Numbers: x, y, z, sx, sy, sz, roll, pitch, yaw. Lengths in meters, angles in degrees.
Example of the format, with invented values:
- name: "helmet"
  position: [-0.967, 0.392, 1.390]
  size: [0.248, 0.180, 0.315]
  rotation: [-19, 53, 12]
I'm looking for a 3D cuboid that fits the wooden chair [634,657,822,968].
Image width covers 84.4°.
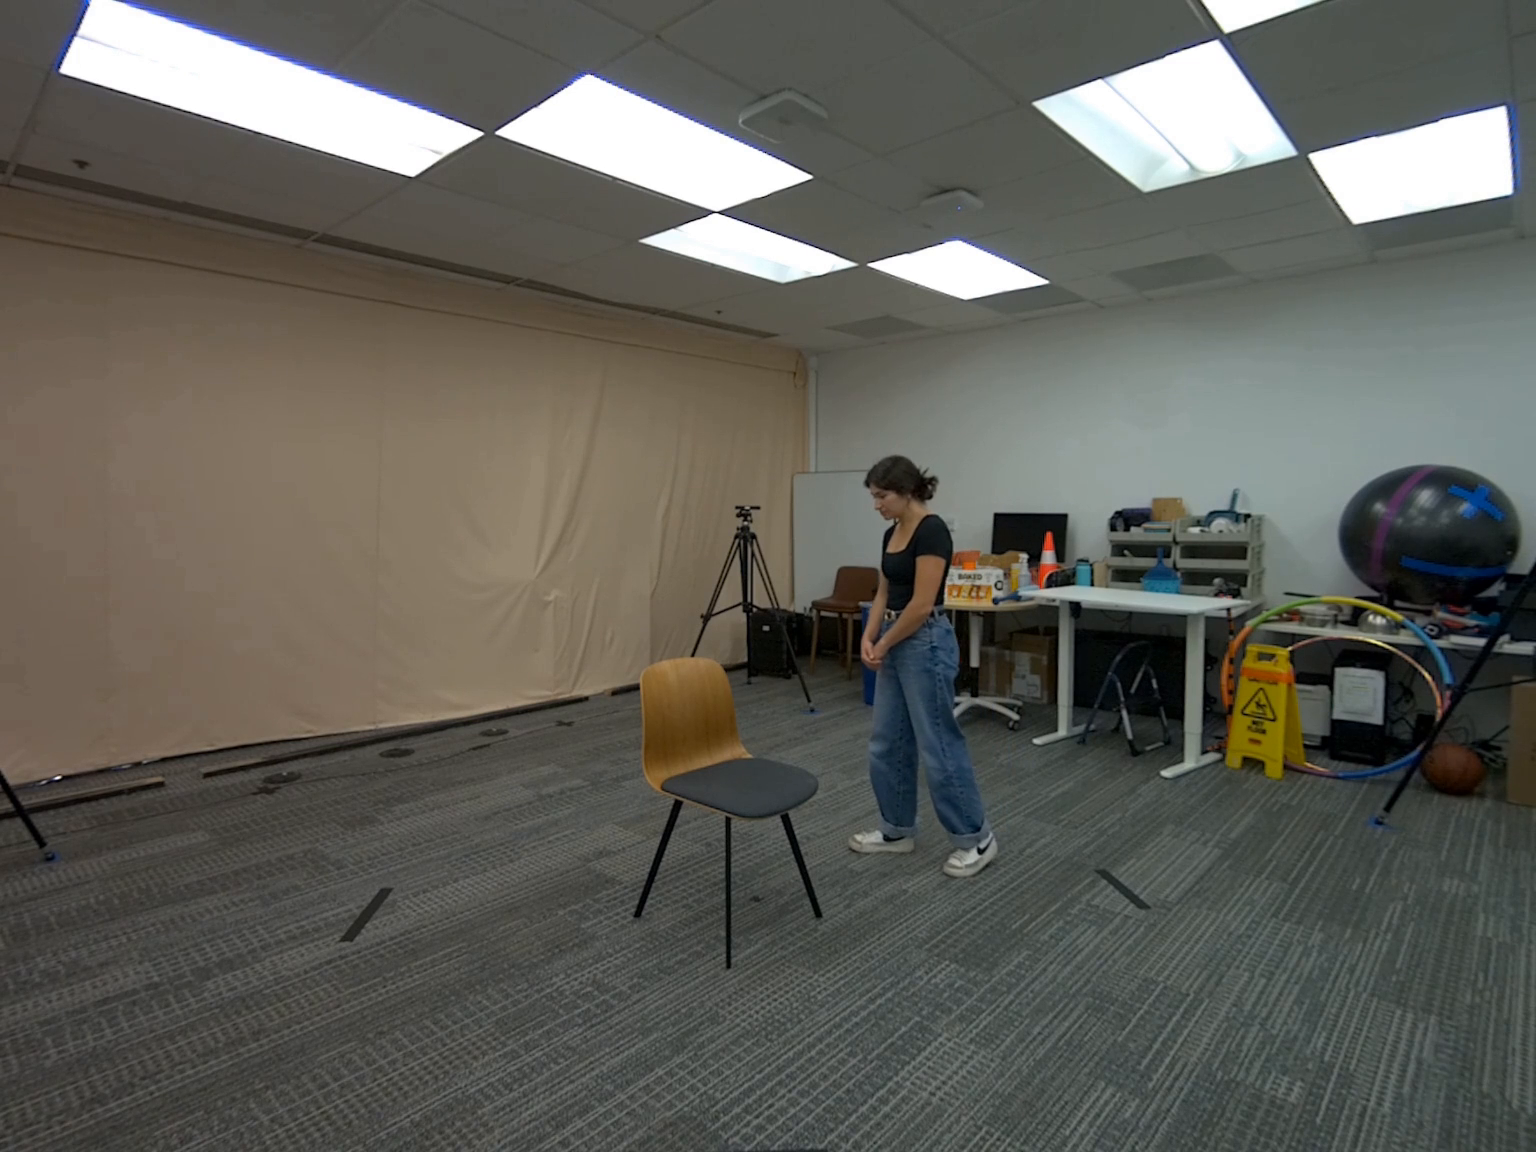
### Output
- name: "wooden chair"
  position: [-0.128, 0.733, 2.813]
  size: [0.539, 0.877, 0.463]
  rotation: [-3, 0, 43]
